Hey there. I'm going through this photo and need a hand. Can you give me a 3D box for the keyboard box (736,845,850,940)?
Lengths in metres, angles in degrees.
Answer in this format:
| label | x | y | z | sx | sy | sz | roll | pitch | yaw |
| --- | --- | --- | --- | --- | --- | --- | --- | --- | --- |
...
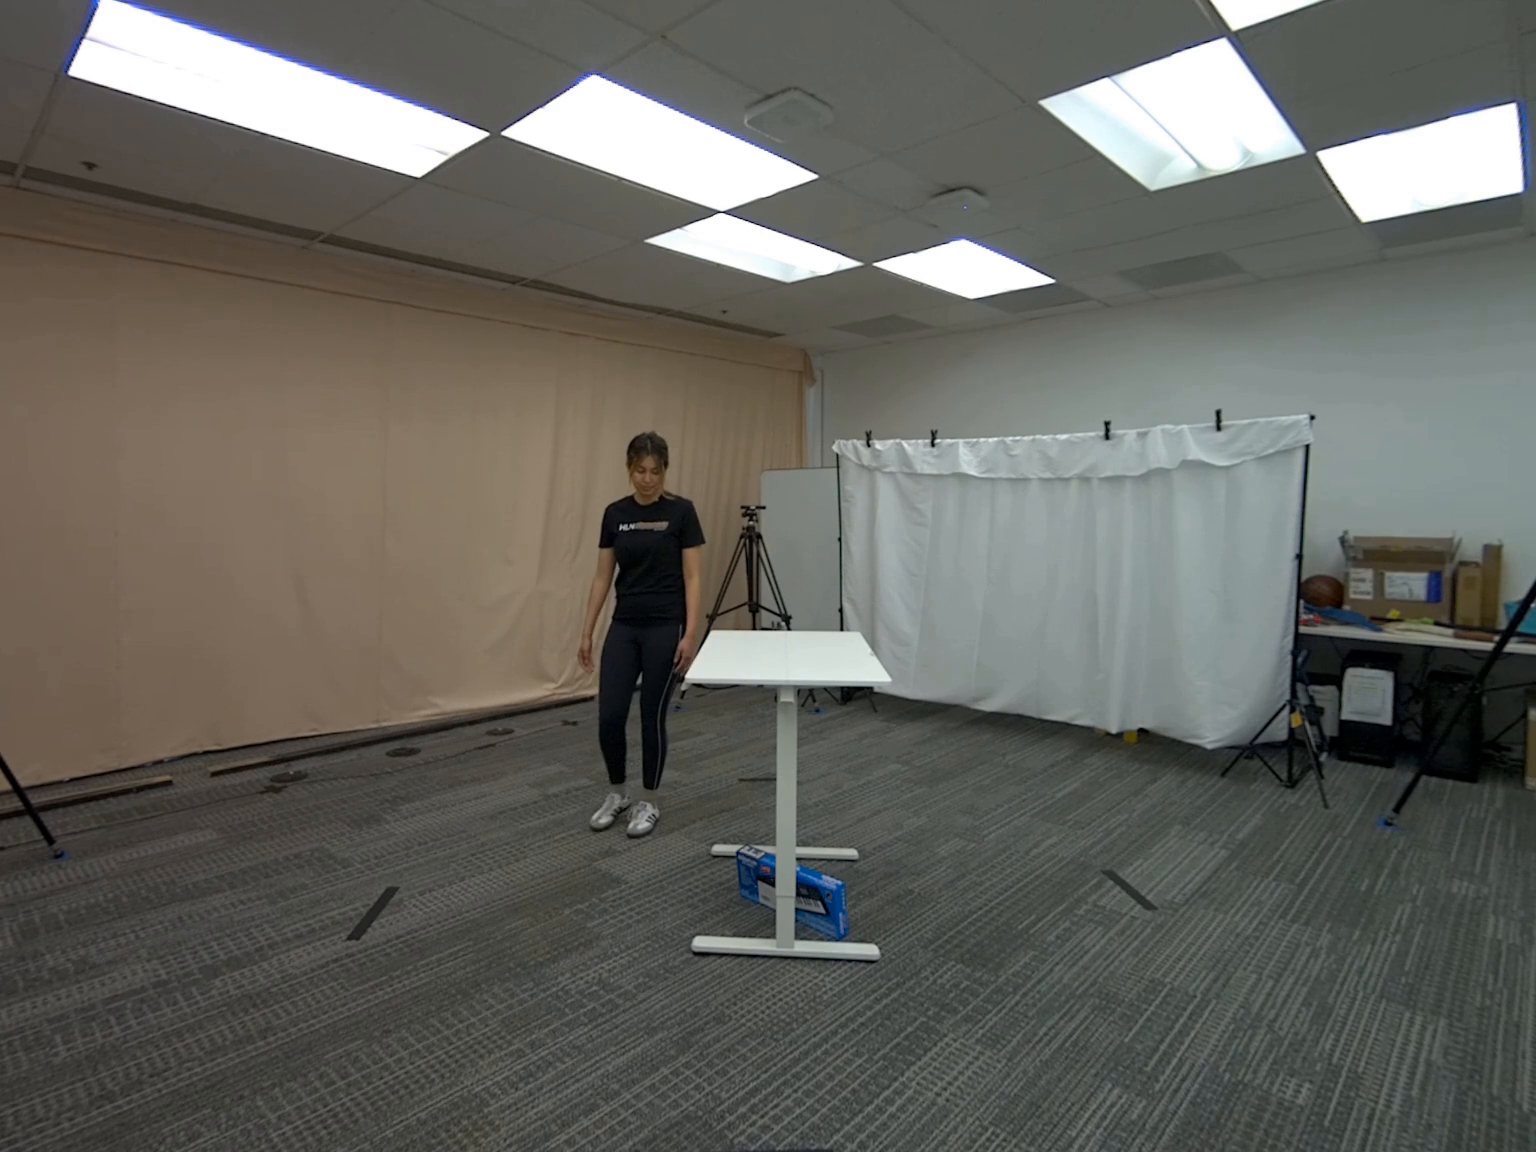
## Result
| label | x | y | z | sx | sy | sz | roll | pitch | yaw |
| --- | --- | --- | --- | --- | --- | --- | --- | --- | --- |
| keyboard box | 0.077 | 1.066 | 2.860 | 0.451 | 0.175 | 0.057 | 4 | 12 | 43 |
